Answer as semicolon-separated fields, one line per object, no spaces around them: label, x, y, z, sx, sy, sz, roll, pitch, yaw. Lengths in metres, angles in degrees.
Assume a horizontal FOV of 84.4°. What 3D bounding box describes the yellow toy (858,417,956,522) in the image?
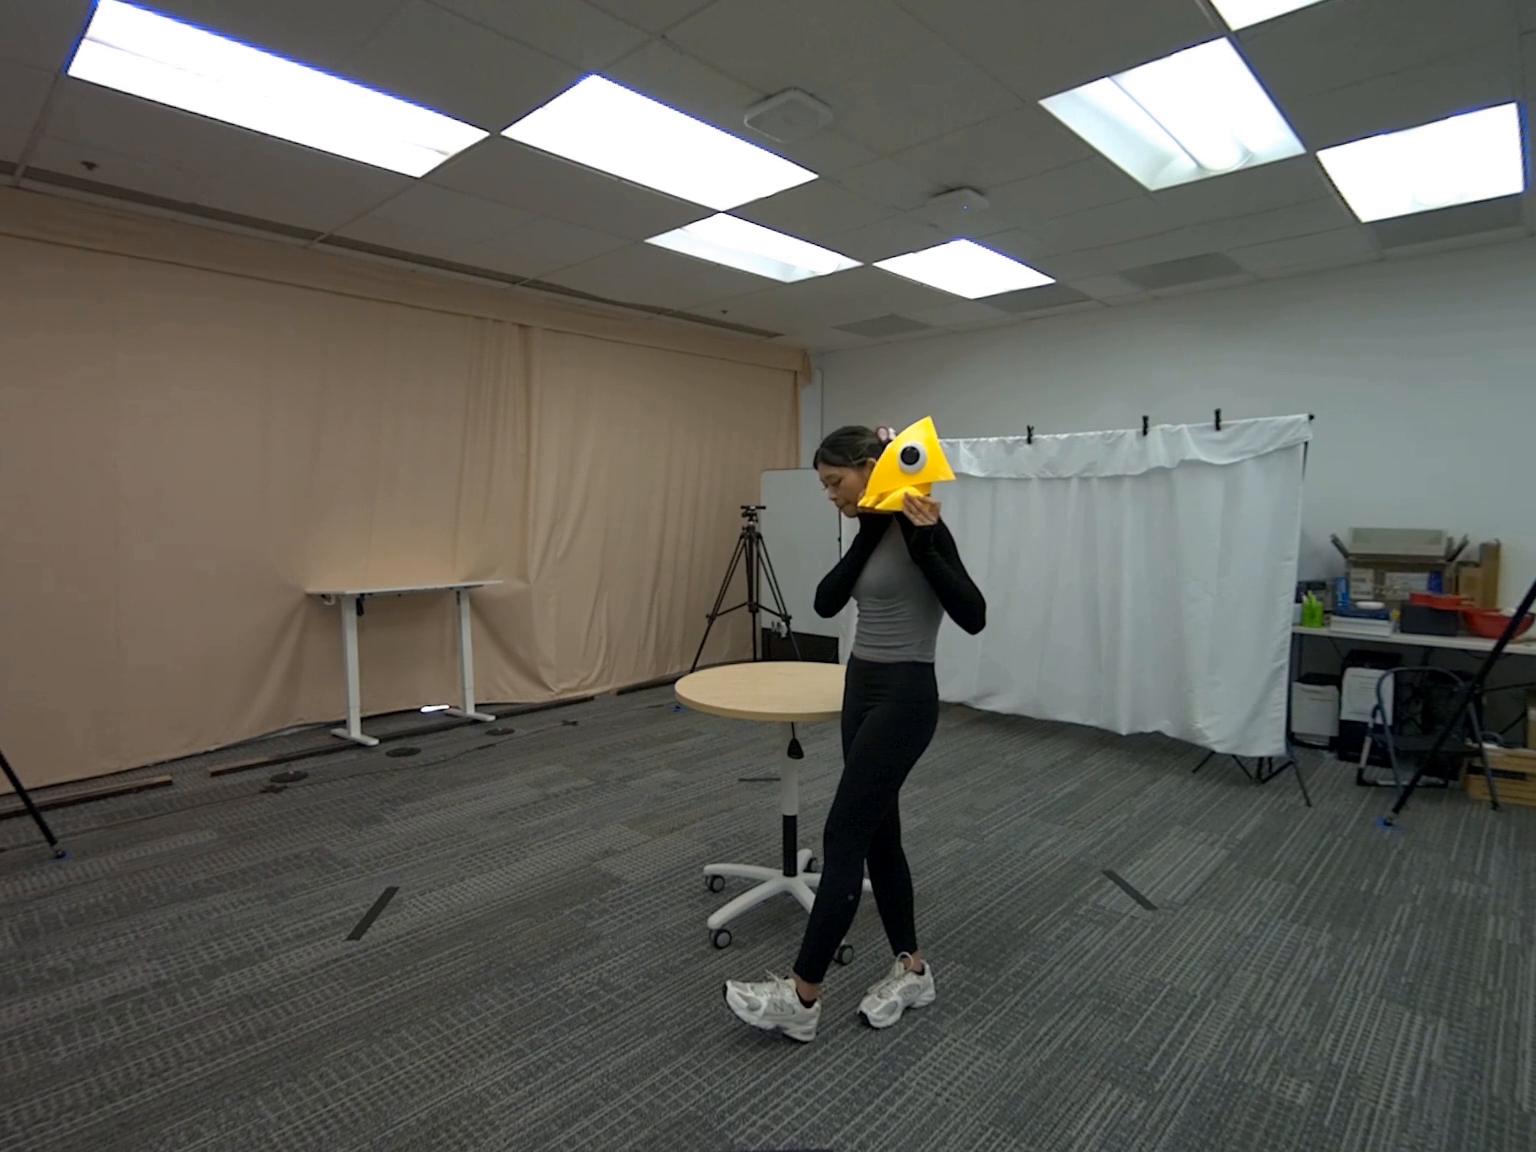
yellow toy;0.338;-0.281;2.087;0.190;0.230;0.208;2;7;-13
